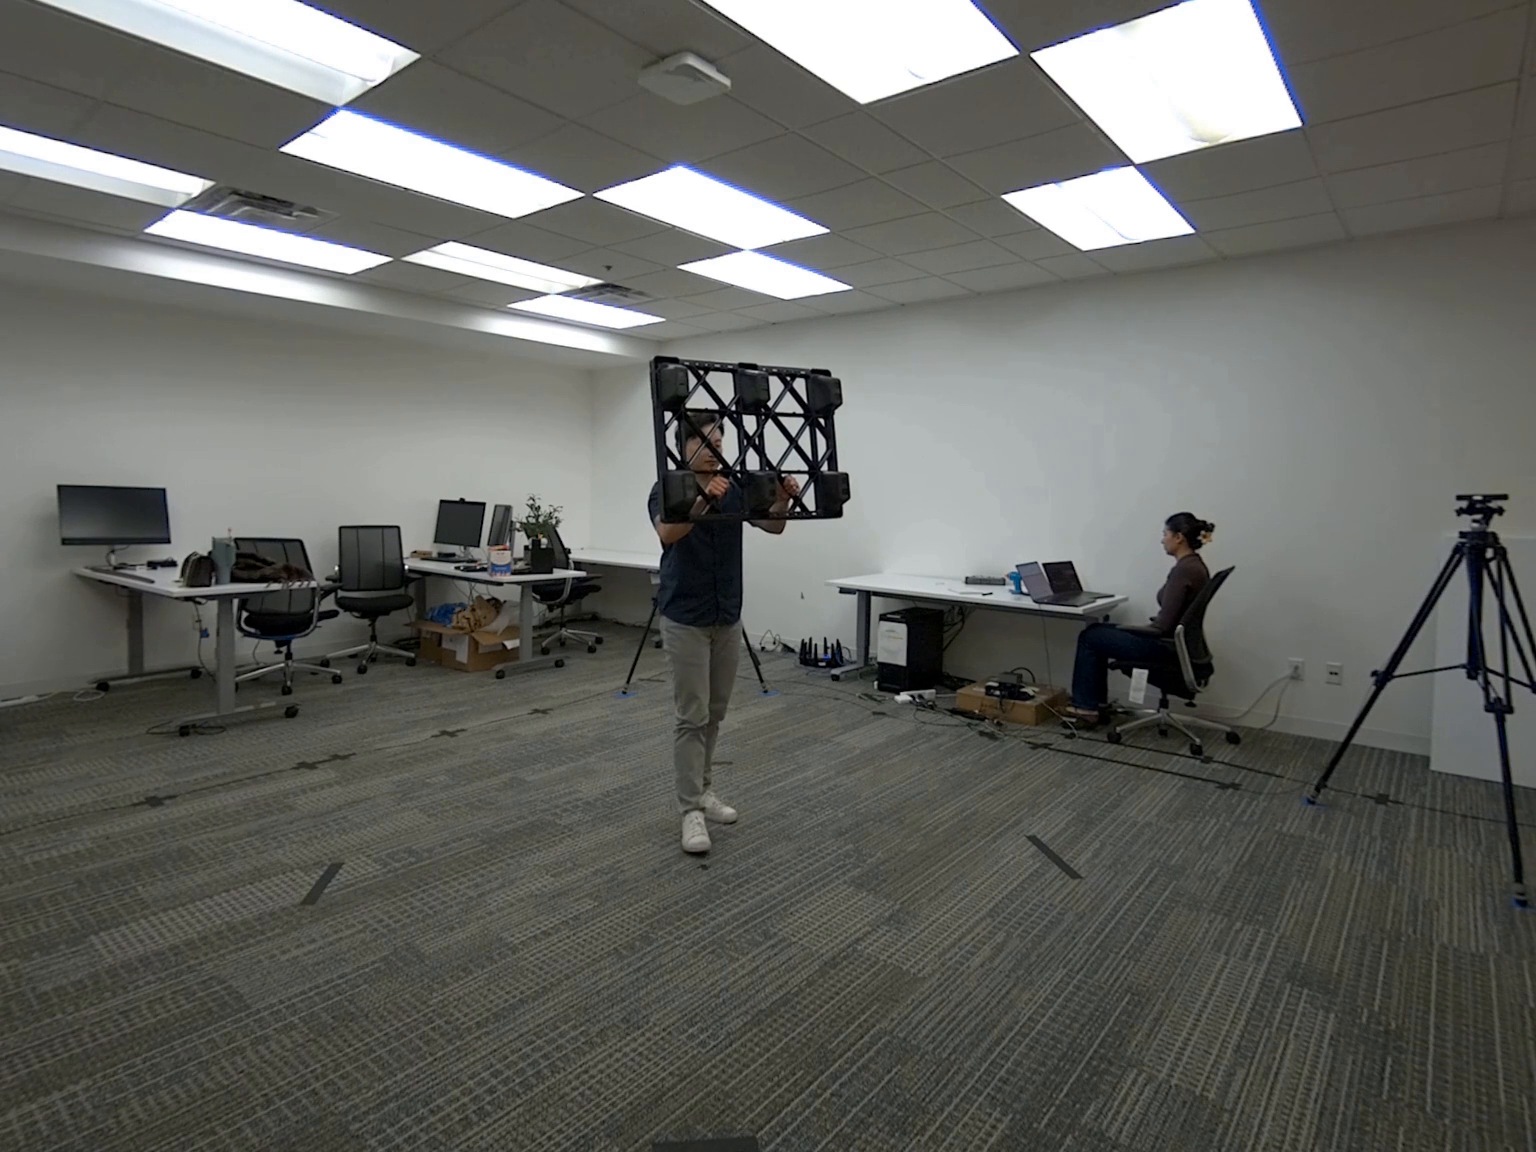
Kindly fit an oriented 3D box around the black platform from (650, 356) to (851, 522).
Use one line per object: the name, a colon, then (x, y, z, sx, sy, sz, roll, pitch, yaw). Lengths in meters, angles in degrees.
black platform: (-0.045, -0.514, 3.162, 0.784, 0.607, 0.147, -4, -3, -31)
